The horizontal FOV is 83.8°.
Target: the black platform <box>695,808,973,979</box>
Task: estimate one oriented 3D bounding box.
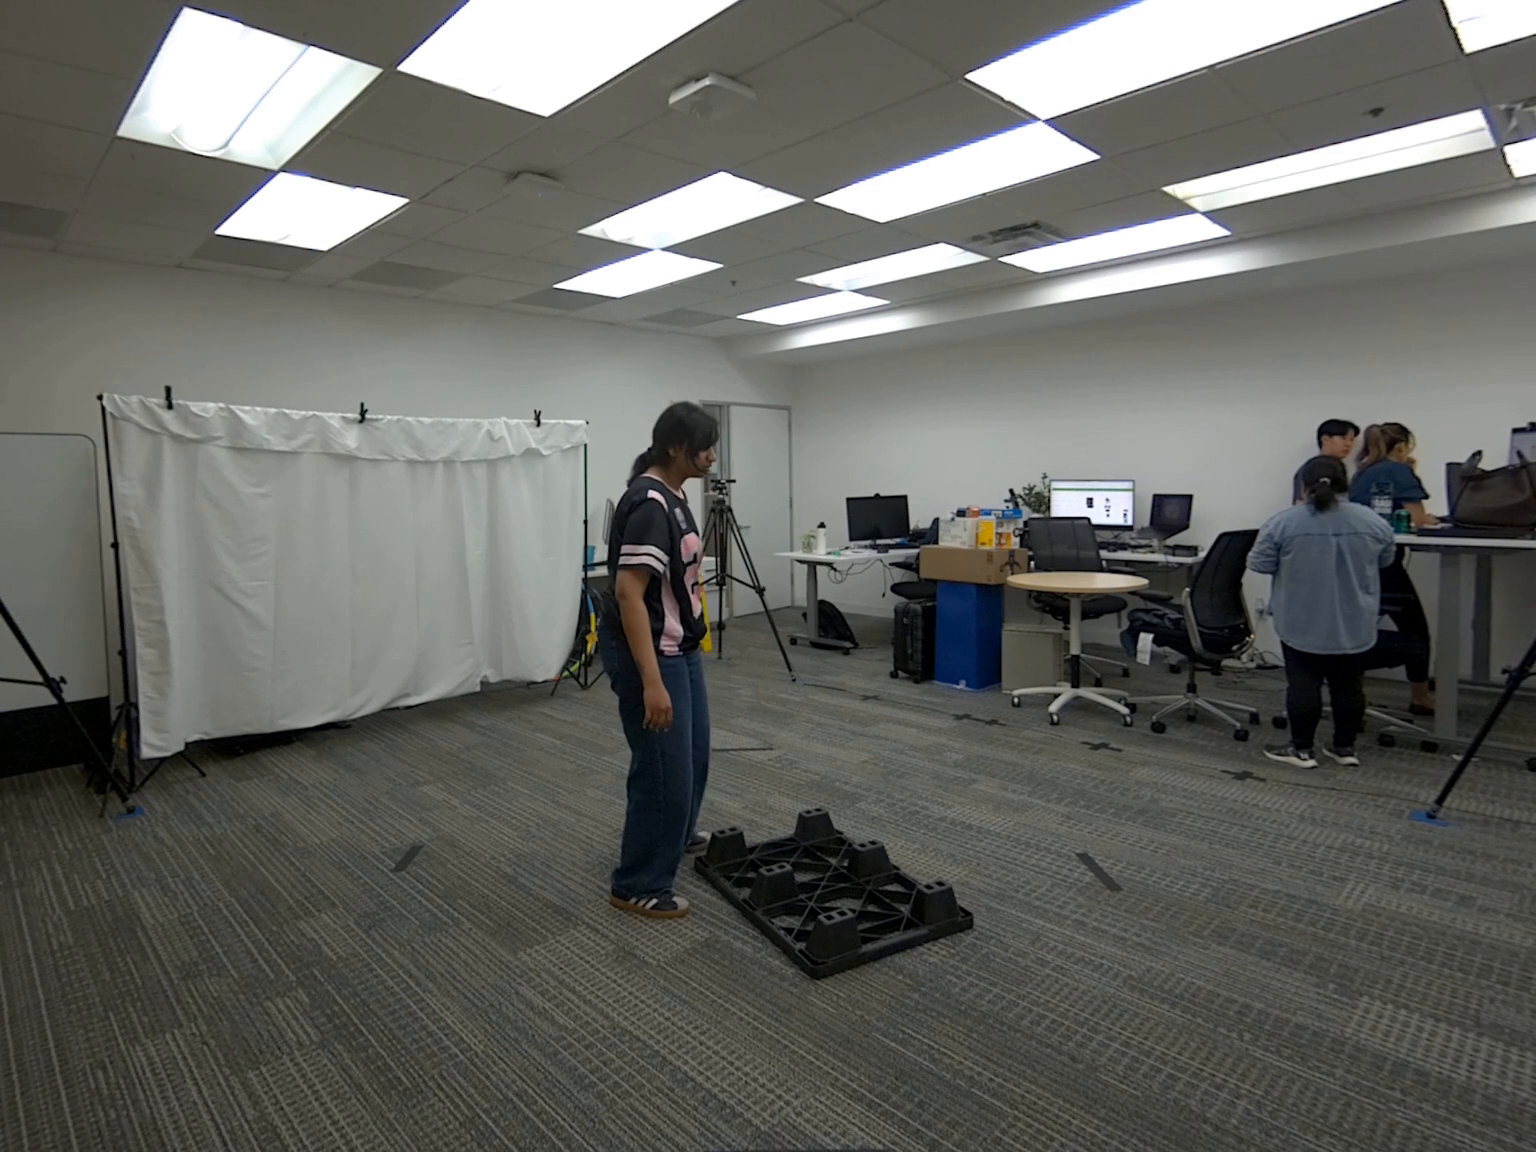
[{"bbox_3d":[0.183,1.007,2.861,0.591,0.143,0.828,-4,7,-29],"label":"black platform"}]
